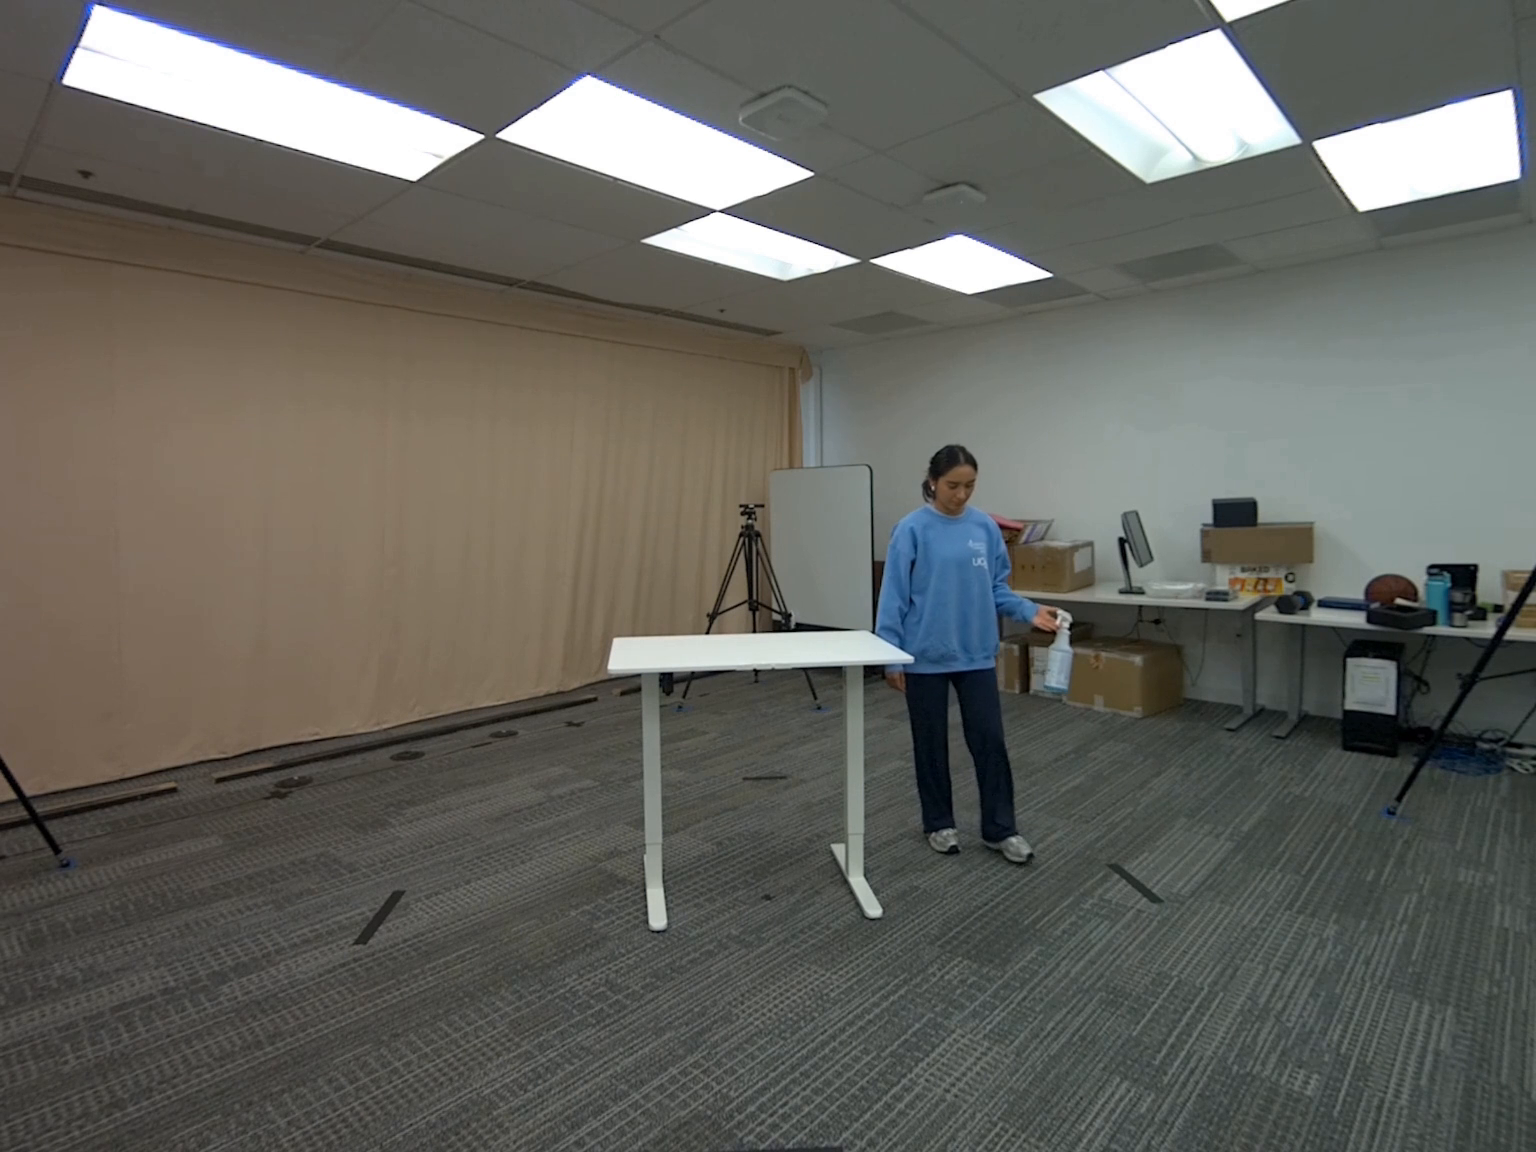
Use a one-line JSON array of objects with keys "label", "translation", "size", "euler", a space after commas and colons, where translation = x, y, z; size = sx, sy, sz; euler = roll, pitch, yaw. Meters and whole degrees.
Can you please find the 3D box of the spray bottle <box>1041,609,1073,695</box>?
[{"label": "spray bottle", "translation": [1.096, 0.288, 3.131], "size": [0.089, 0.298, 0.088], "euler": [9, -4, -12]}]
